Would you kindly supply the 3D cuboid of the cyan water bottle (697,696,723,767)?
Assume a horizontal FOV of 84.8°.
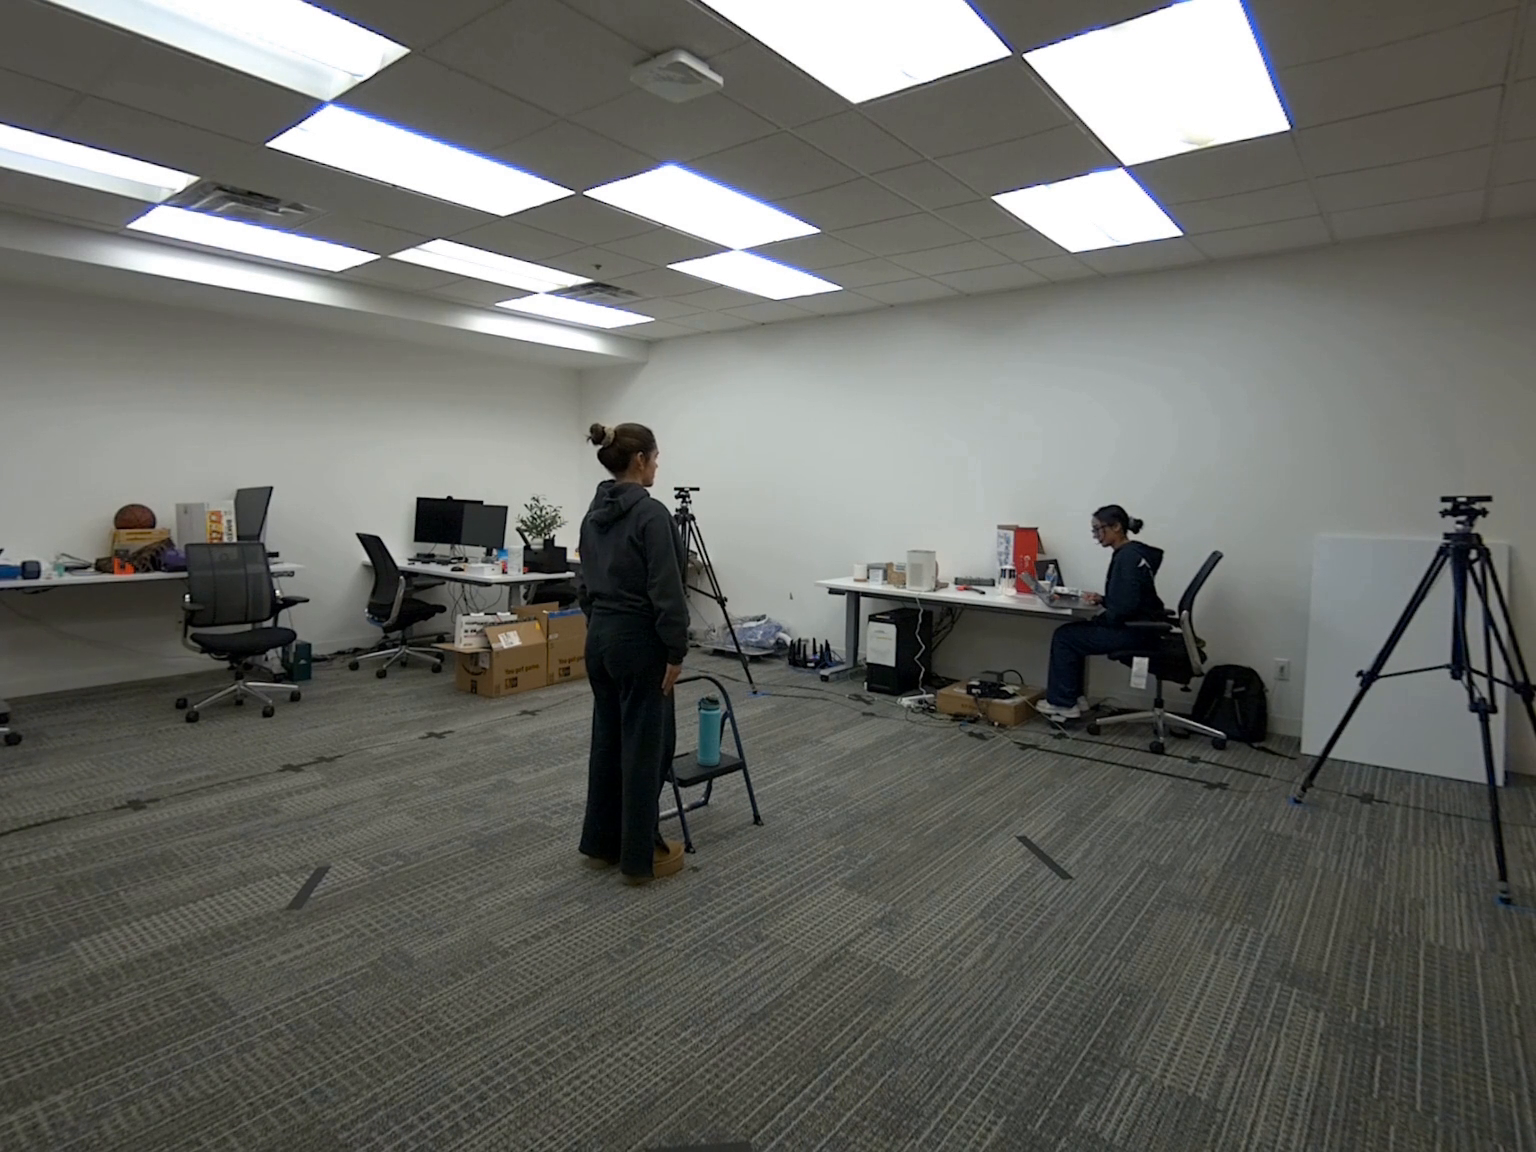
[{"bbox_3d":[-0.247,0.626,3.498,0.092,0.282,0.093,1,4,-2],"label":"cyan water bottle"}]
